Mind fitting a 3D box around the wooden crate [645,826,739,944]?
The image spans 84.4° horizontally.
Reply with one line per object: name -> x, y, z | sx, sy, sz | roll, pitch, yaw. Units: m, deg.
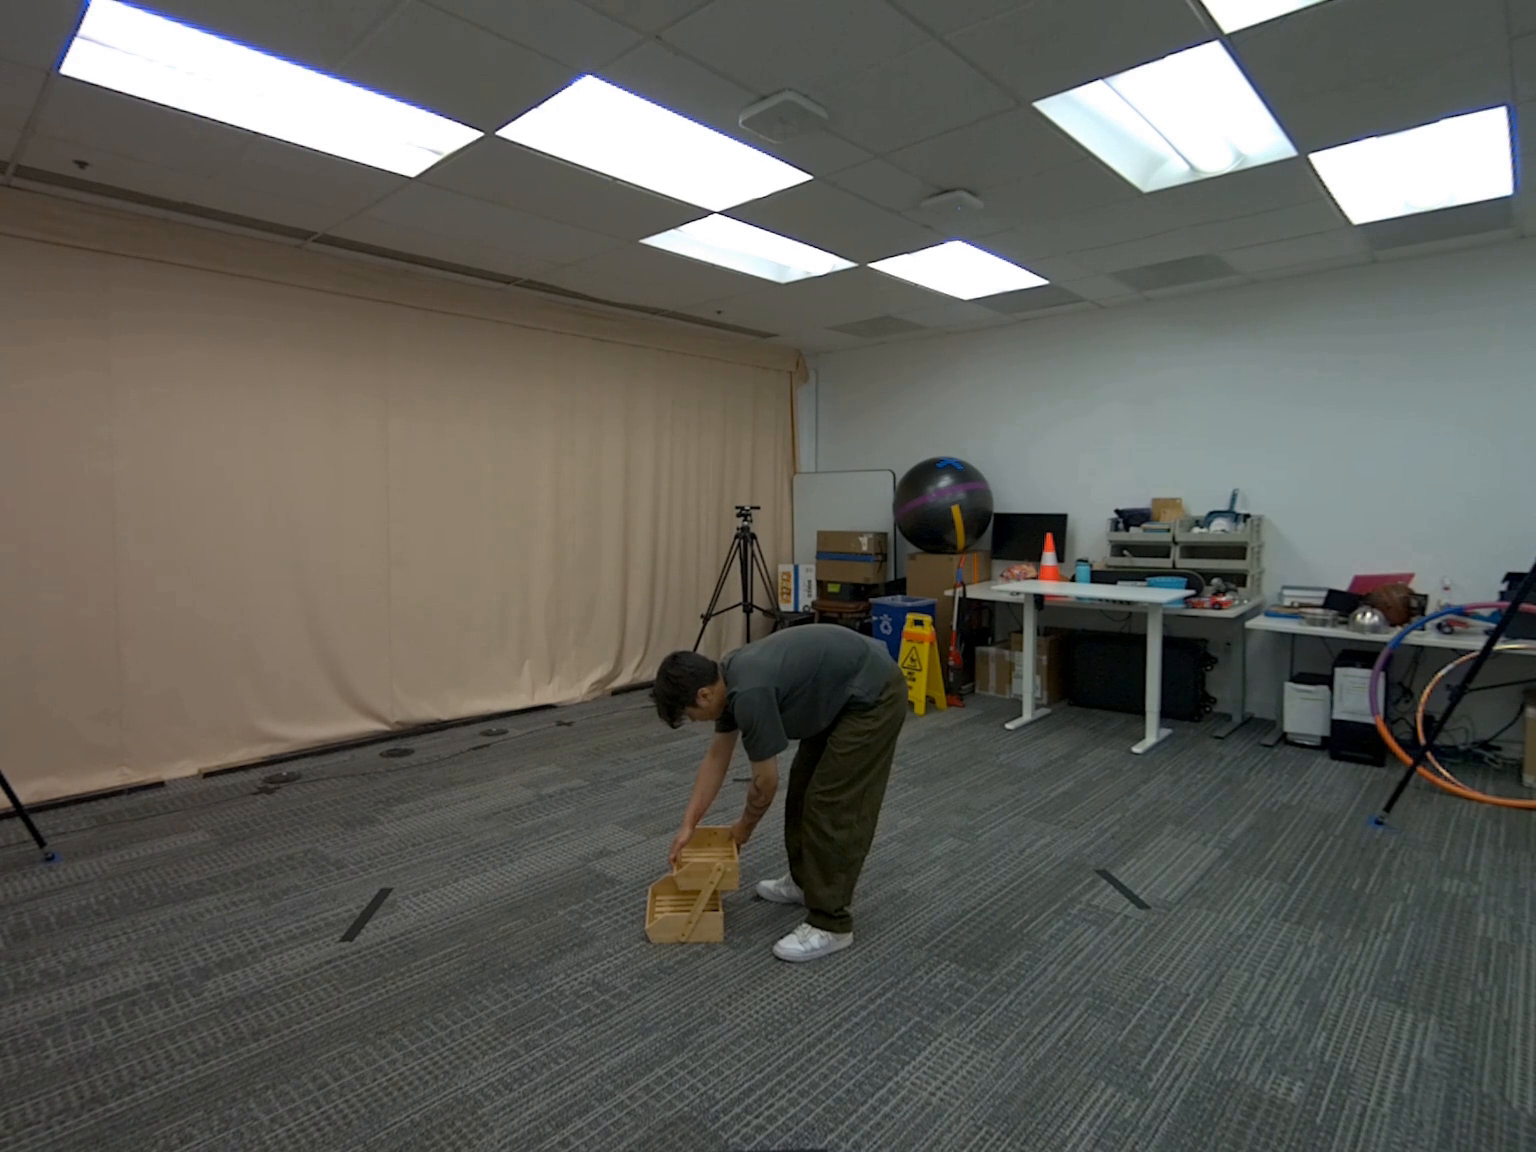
wooden crate -> -0.267, 1.028, 2.829 | 0.301, 0.273, 0.326 | -1, 3, -5
